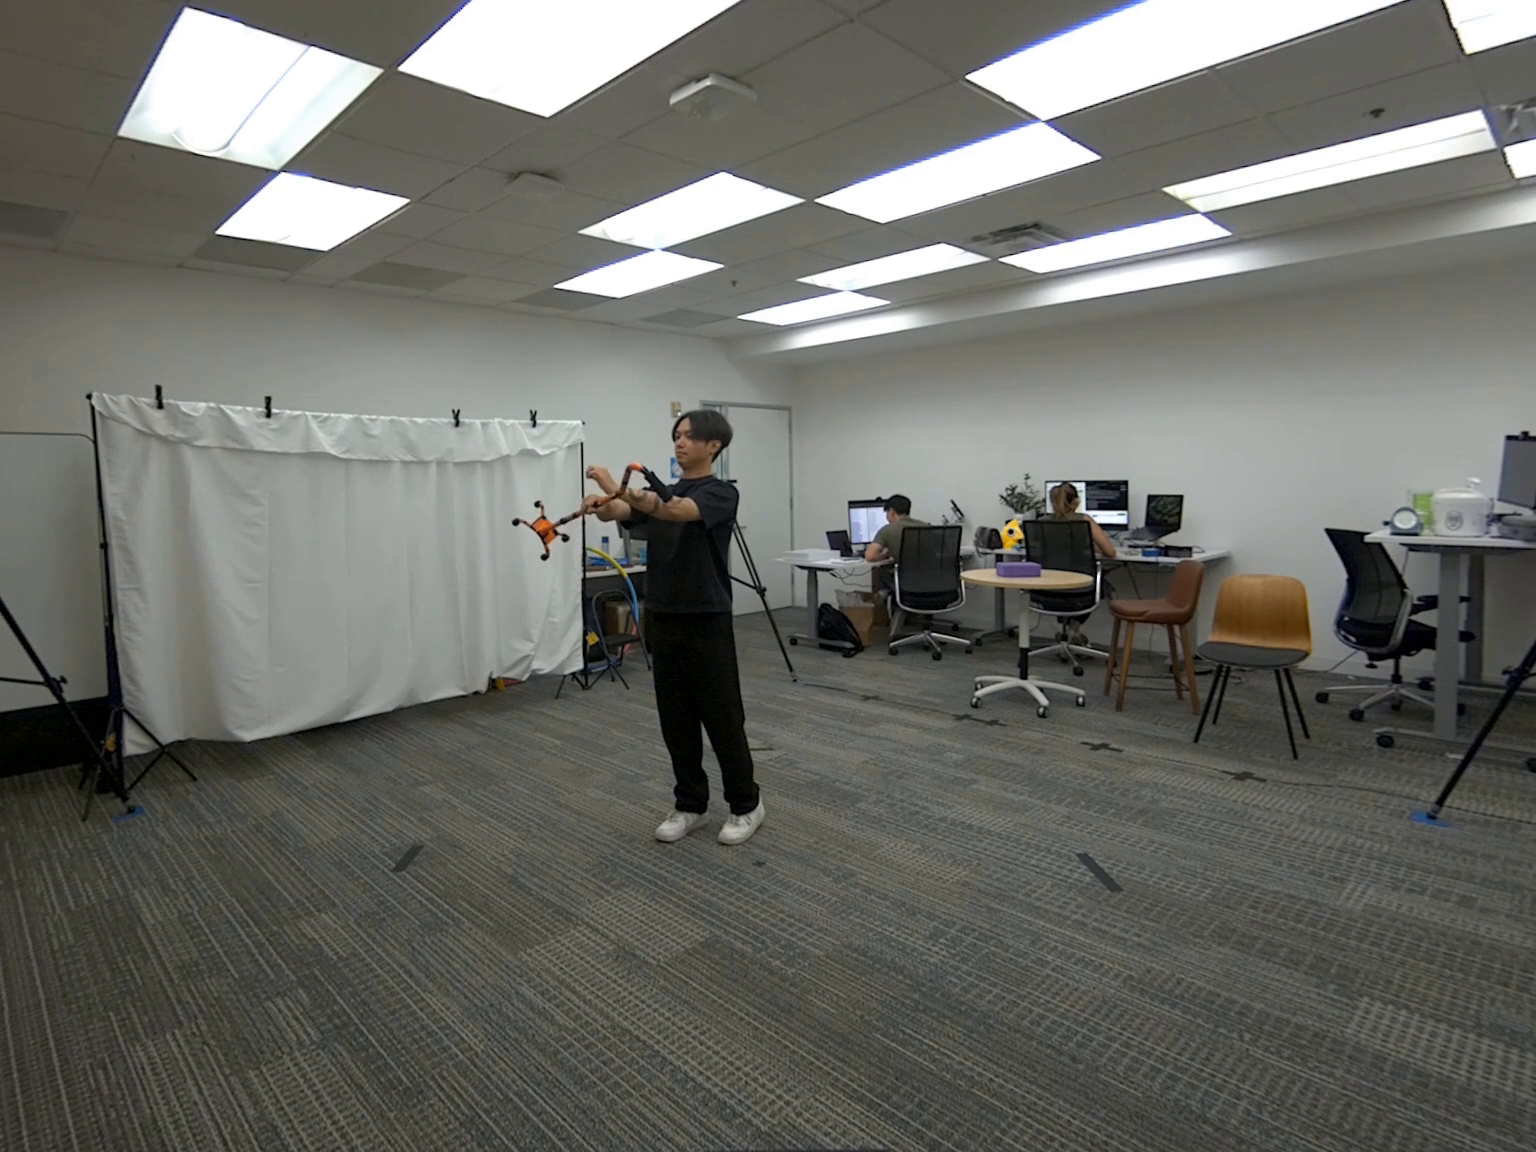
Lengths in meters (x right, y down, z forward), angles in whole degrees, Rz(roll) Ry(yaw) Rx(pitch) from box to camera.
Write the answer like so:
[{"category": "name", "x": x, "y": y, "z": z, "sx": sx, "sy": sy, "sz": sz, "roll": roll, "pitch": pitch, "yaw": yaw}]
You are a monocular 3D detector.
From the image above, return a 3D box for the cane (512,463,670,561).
[{"category": "cane", "x": -0.631, "y": -0.248, "z": 3.035, "sx": 0.926, "sy": 0.202, "sz": 0.152, "roll": -14, "pitch": 29, "yaw": 53}]
